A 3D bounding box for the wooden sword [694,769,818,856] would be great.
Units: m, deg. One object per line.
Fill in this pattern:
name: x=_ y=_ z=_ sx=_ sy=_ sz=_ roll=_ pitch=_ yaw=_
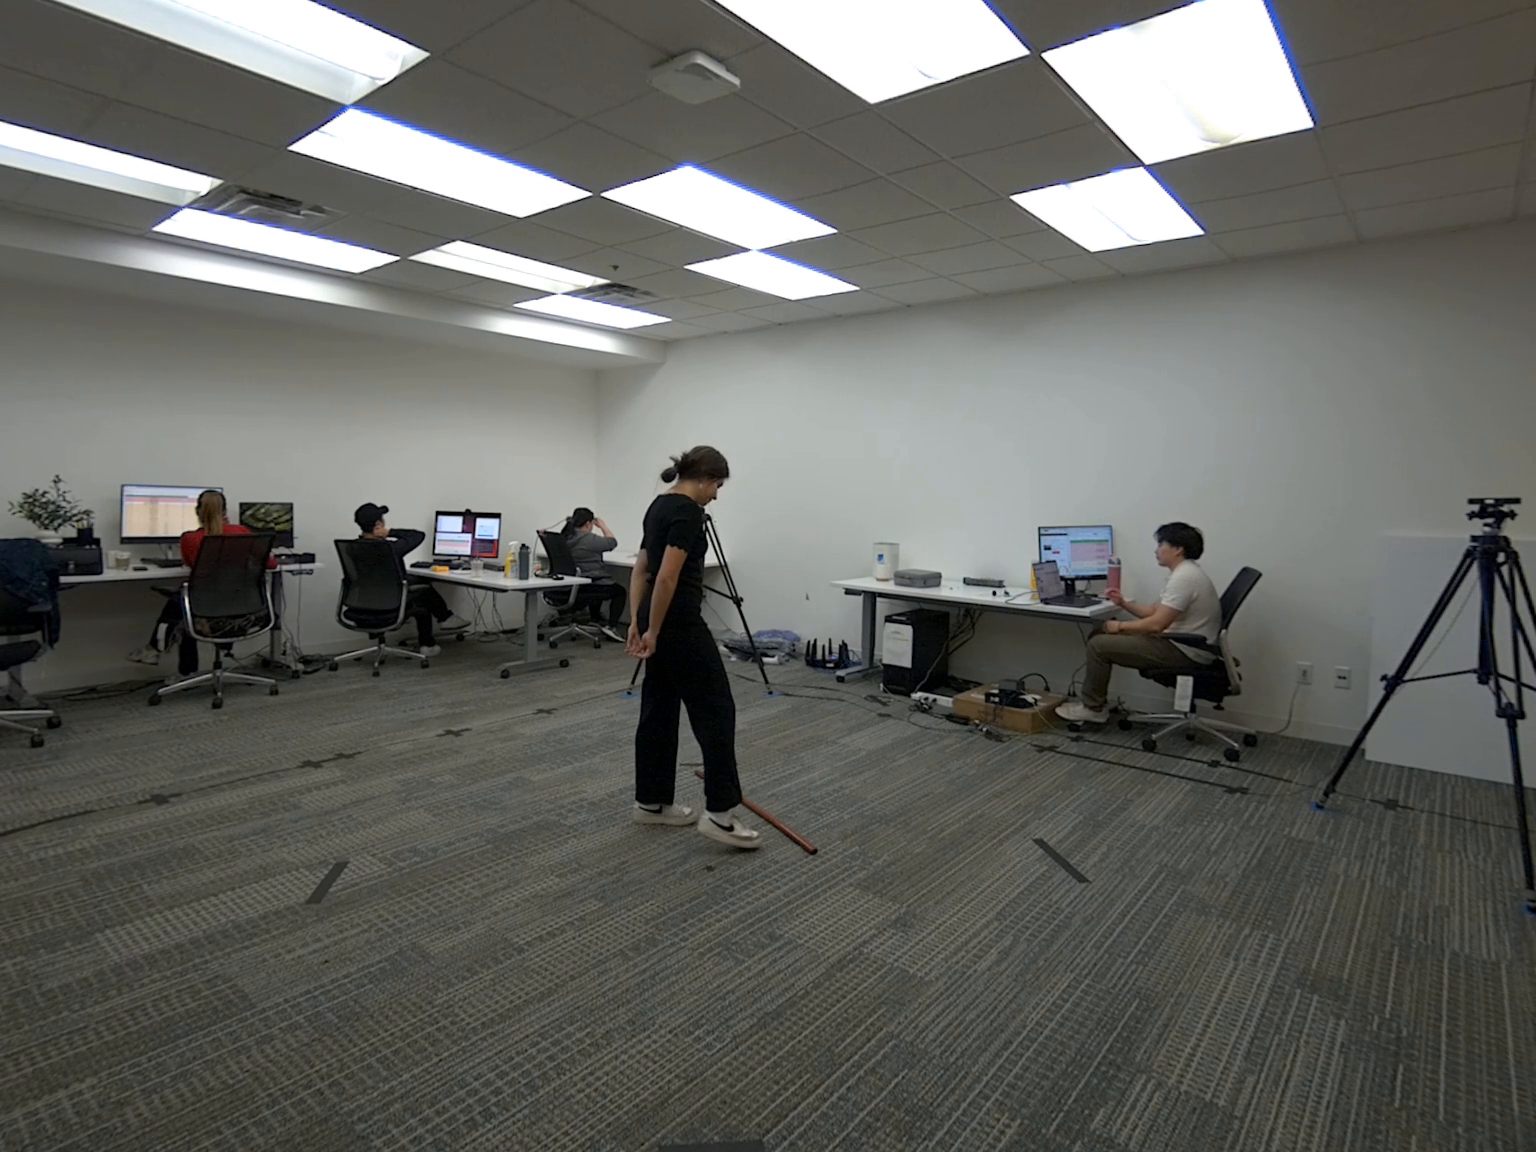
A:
wooden sword: x=-0.095 y=0.987 z=3.695 sx=0.050 sy=0.024 sz=1.057 roll=-11 pitch=11 yaw=-30
